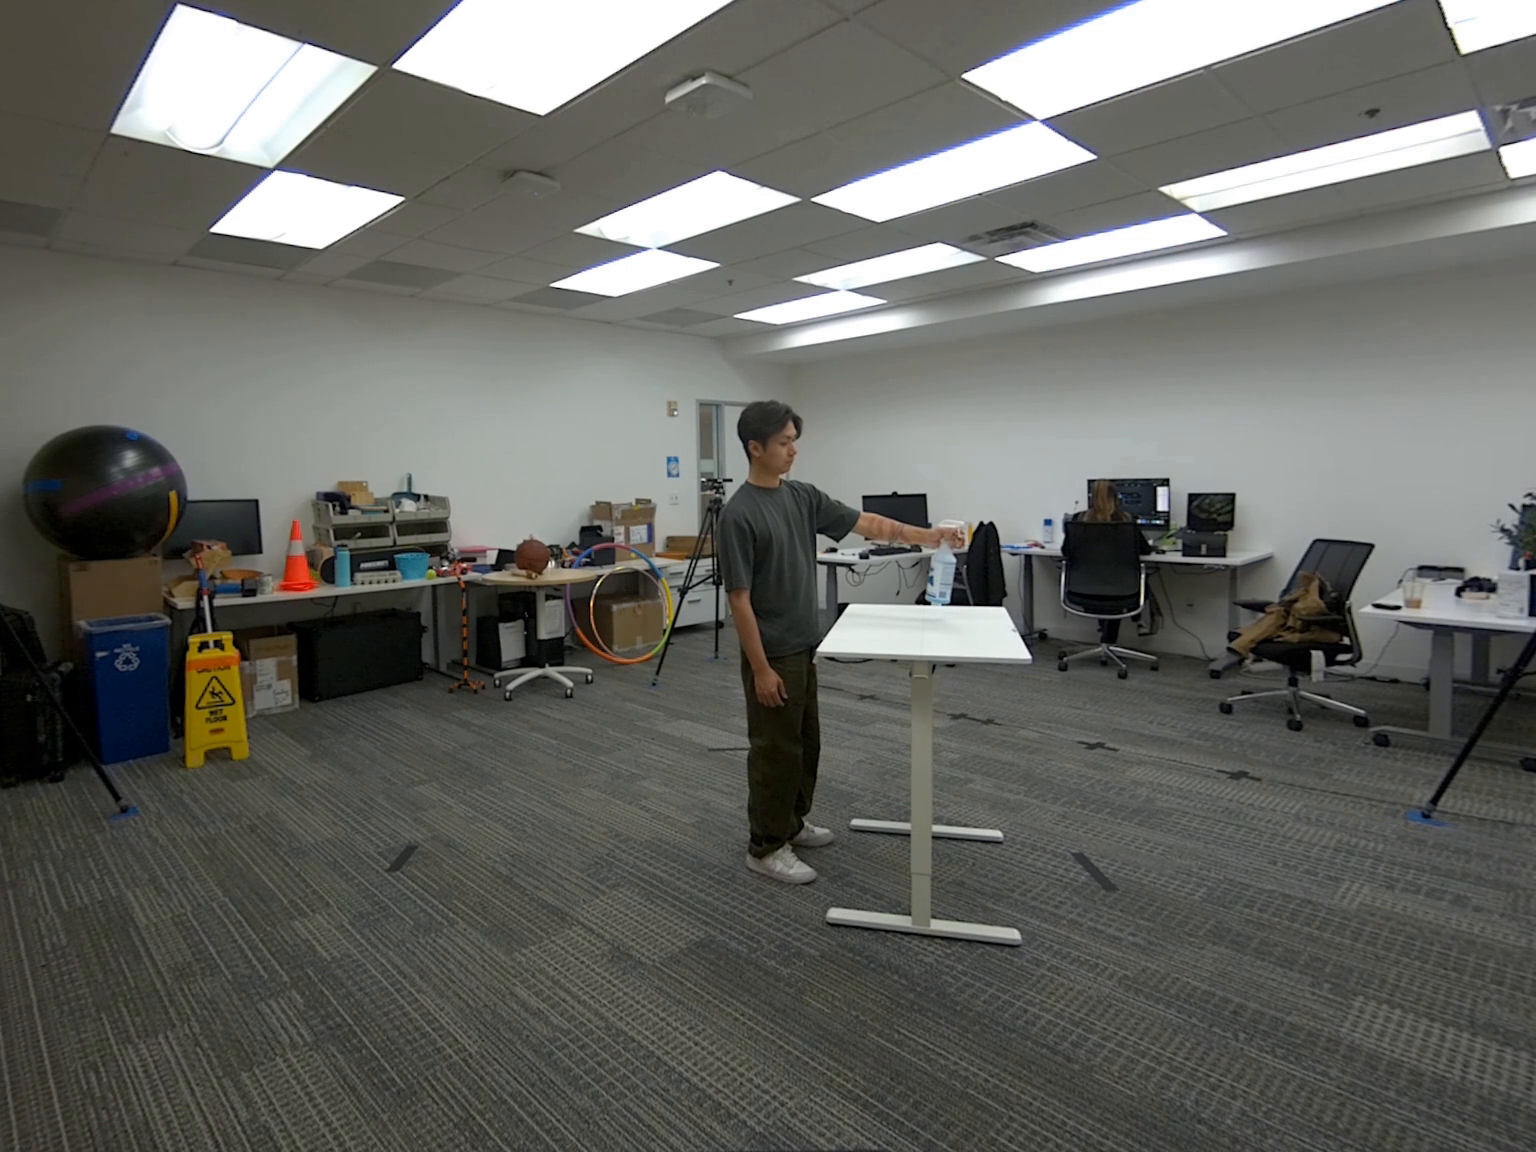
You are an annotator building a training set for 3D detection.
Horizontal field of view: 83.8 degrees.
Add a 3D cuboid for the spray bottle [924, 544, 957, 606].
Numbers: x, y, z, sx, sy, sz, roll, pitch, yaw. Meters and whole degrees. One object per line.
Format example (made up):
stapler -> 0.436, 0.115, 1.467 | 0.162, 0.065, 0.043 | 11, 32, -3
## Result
spray bottle -> 0.621, -0.049, 3.025 | 0.084, 0.295, 0.093 | 1, 11, -37
